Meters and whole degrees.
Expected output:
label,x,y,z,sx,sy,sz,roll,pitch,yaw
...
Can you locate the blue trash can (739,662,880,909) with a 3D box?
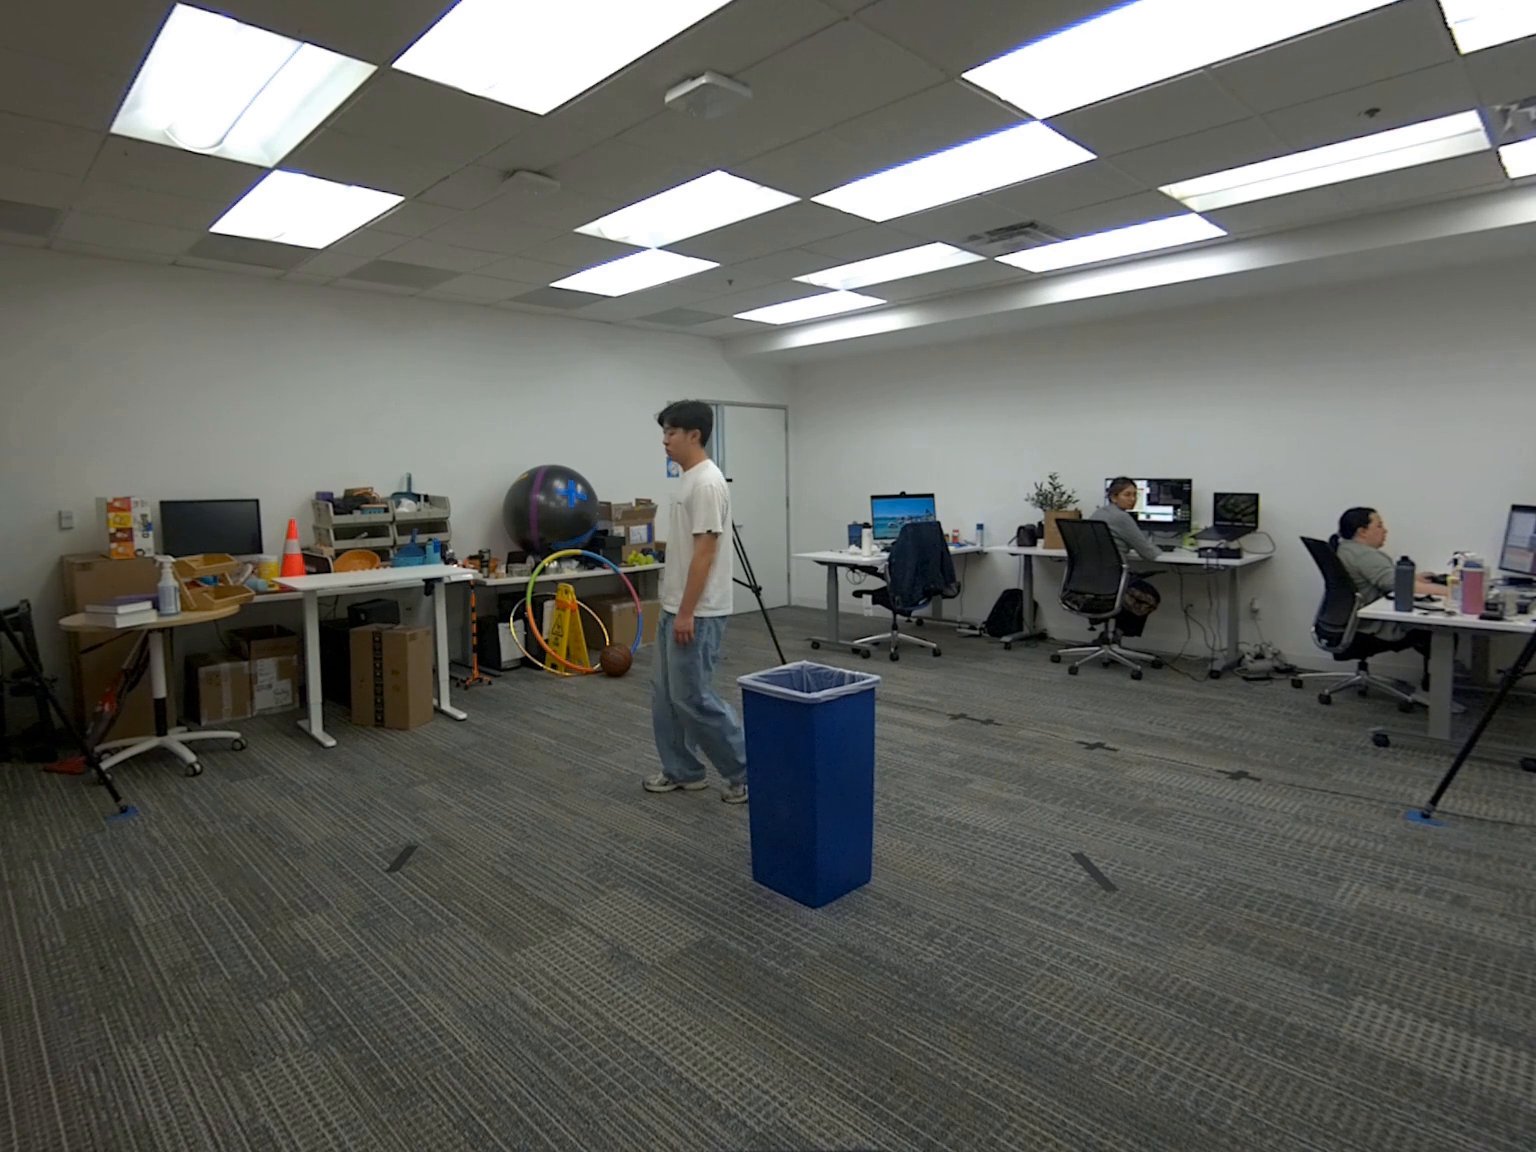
label,x,y,z,sx,sy,sz,roll,pitch,yaw
blue trash can,0.146,0.701,2.943,0.364,0.711,0.389,-5,5,-44
